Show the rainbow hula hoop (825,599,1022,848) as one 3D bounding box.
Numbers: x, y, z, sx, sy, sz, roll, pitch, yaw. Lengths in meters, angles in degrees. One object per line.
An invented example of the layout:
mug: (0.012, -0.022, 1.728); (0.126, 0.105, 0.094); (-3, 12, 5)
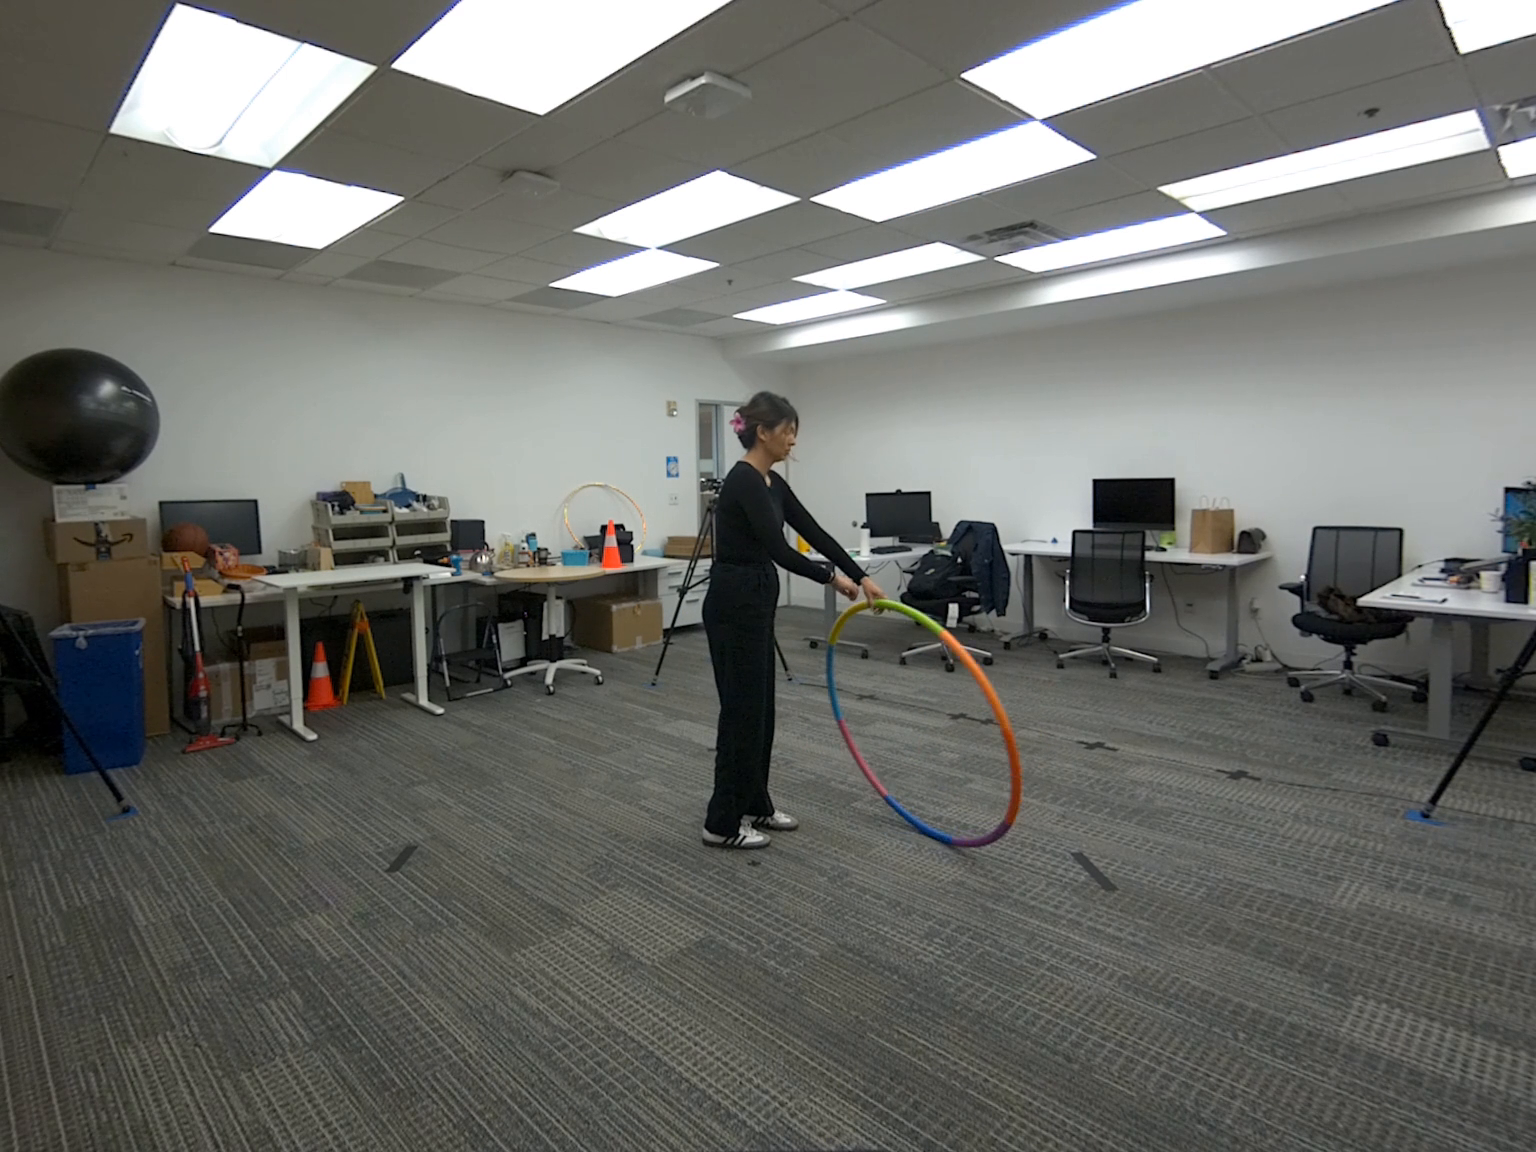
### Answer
rainbow hula hoop: (0.541, 0.548, 3.223); (0.035, 0.967, 1.006); (-19, 13, -29)
